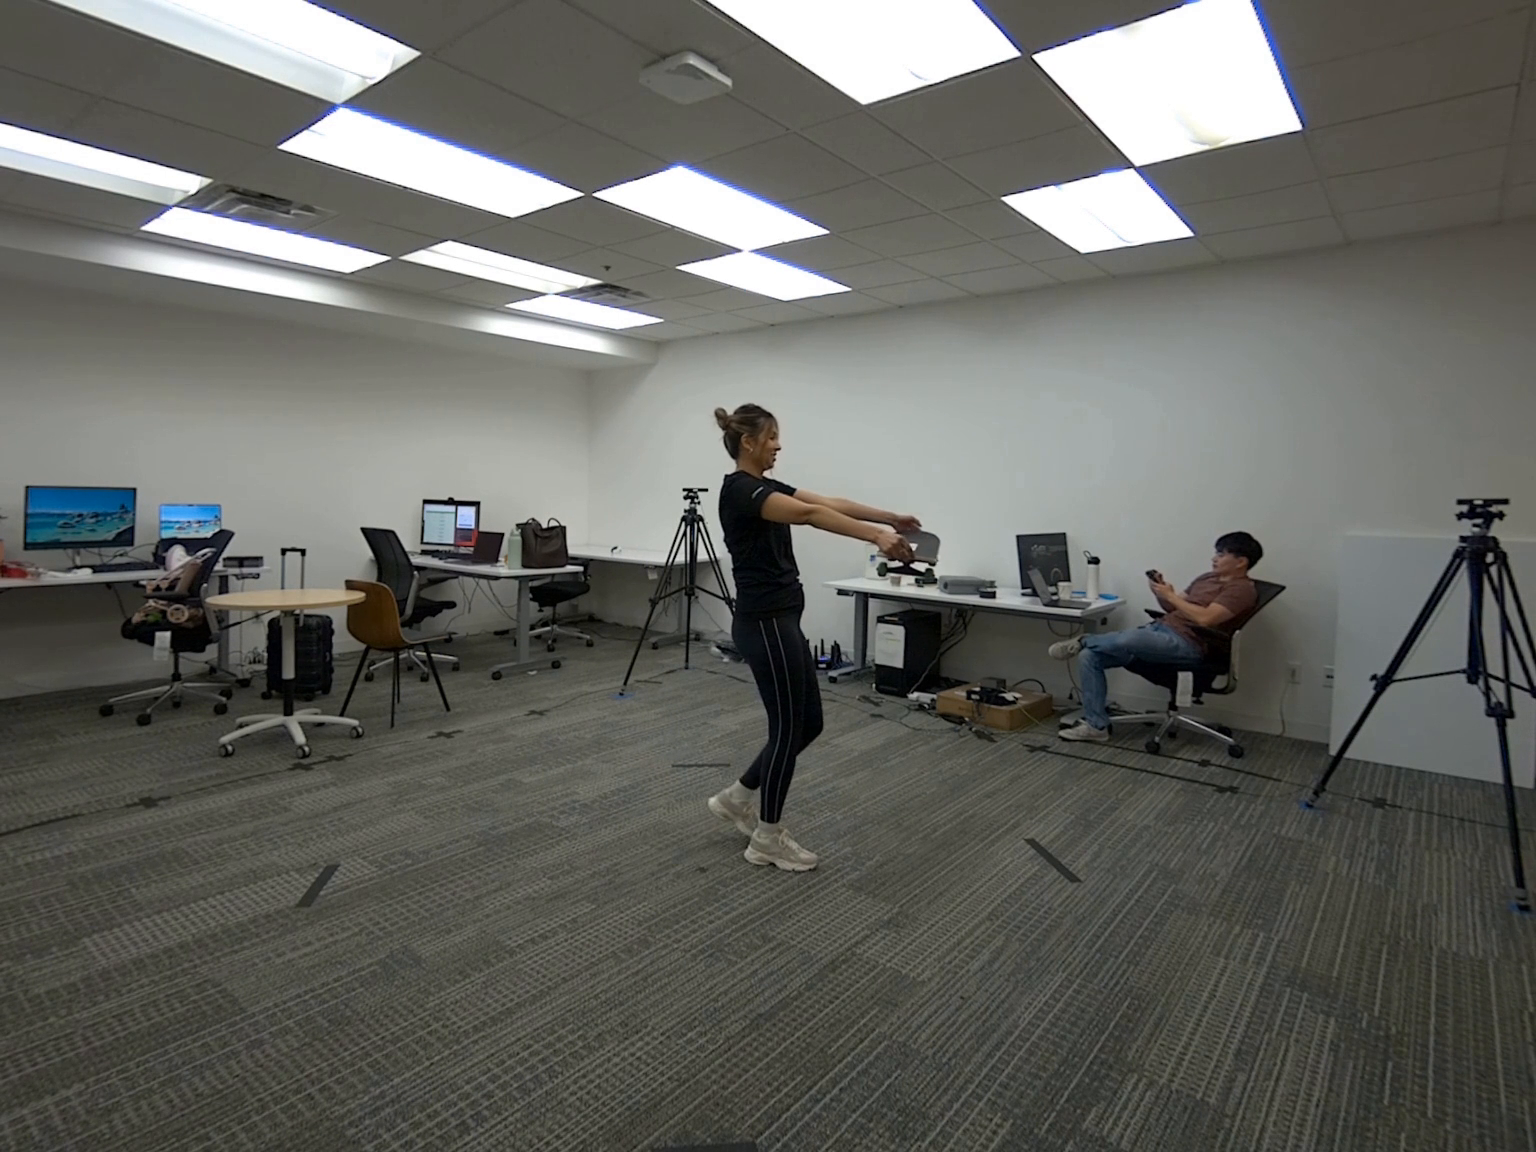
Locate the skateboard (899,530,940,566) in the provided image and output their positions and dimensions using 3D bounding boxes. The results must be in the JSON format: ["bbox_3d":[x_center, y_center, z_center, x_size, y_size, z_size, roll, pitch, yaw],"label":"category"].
[{"bbox_3d":[0.494,-0.066,3.025,0.196,0.109,0.779,8,10,11],"label":"skateboard"}]
